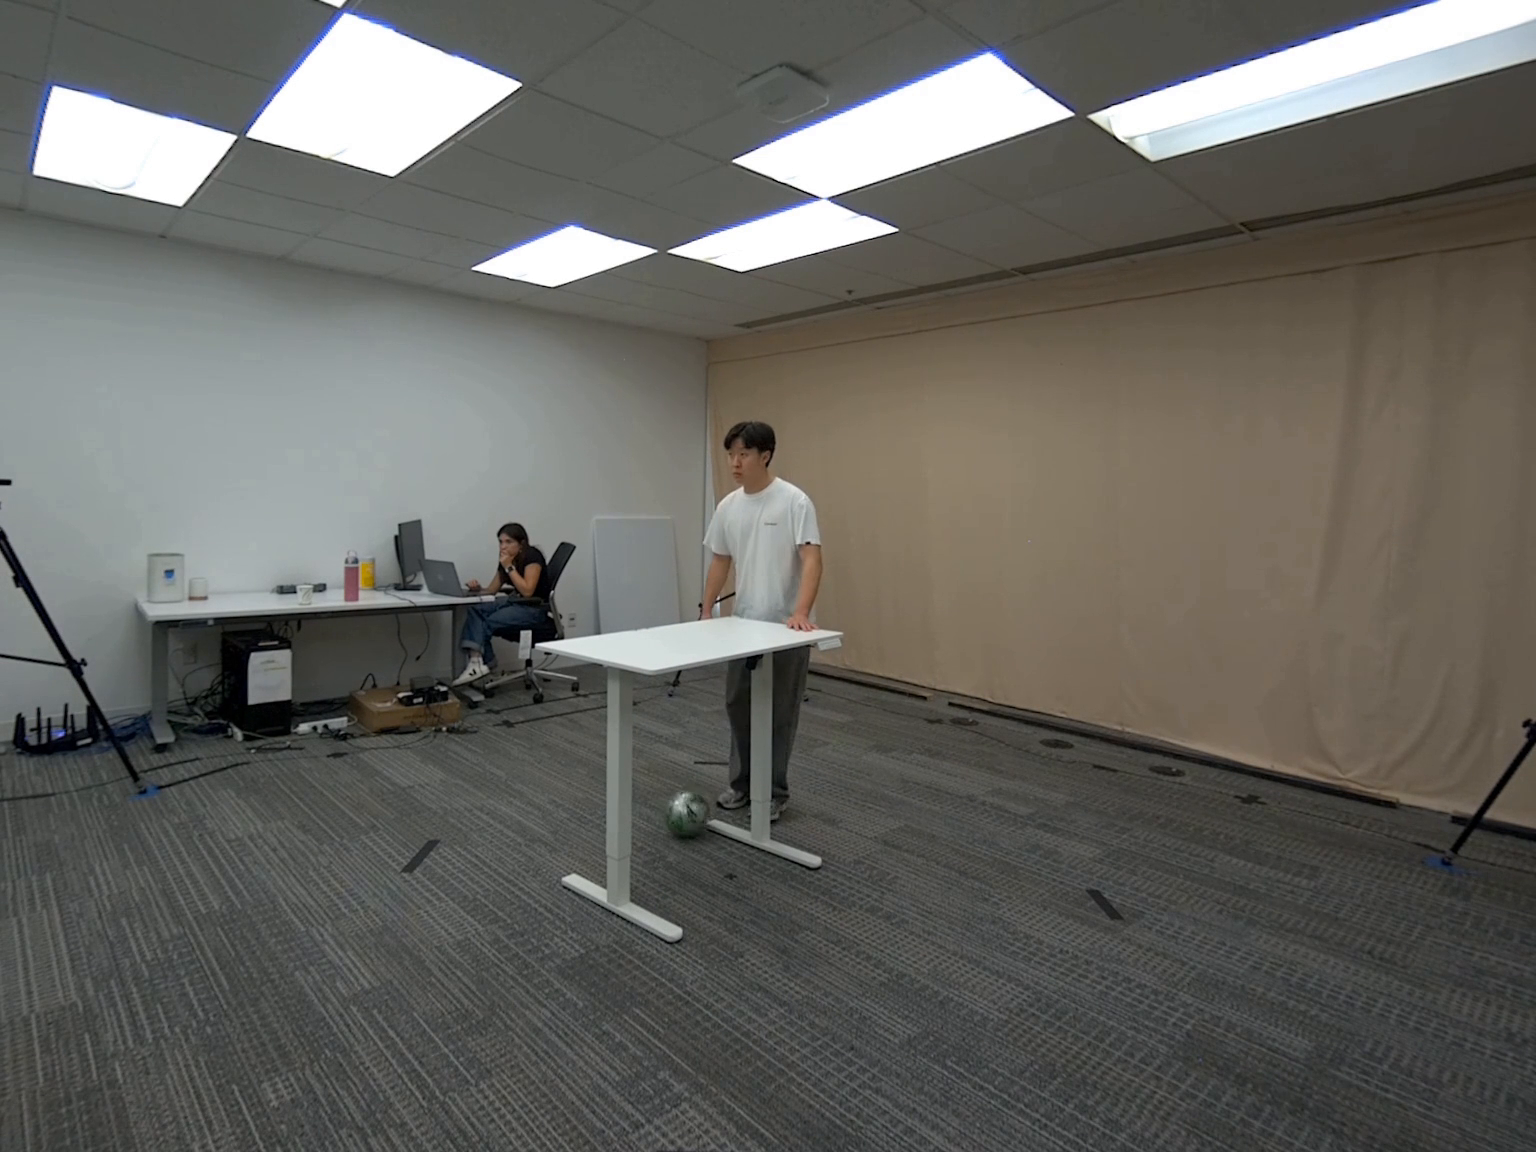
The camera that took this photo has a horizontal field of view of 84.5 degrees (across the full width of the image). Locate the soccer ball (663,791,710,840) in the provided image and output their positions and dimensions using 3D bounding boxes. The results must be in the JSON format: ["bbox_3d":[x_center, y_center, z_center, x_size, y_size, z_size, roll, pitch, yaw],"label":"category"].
[{"bbox_3d":[-0.342,0.978,3.458,0.187,0.187,0.188,1,4,-1],"label":"soccer ball"}]
